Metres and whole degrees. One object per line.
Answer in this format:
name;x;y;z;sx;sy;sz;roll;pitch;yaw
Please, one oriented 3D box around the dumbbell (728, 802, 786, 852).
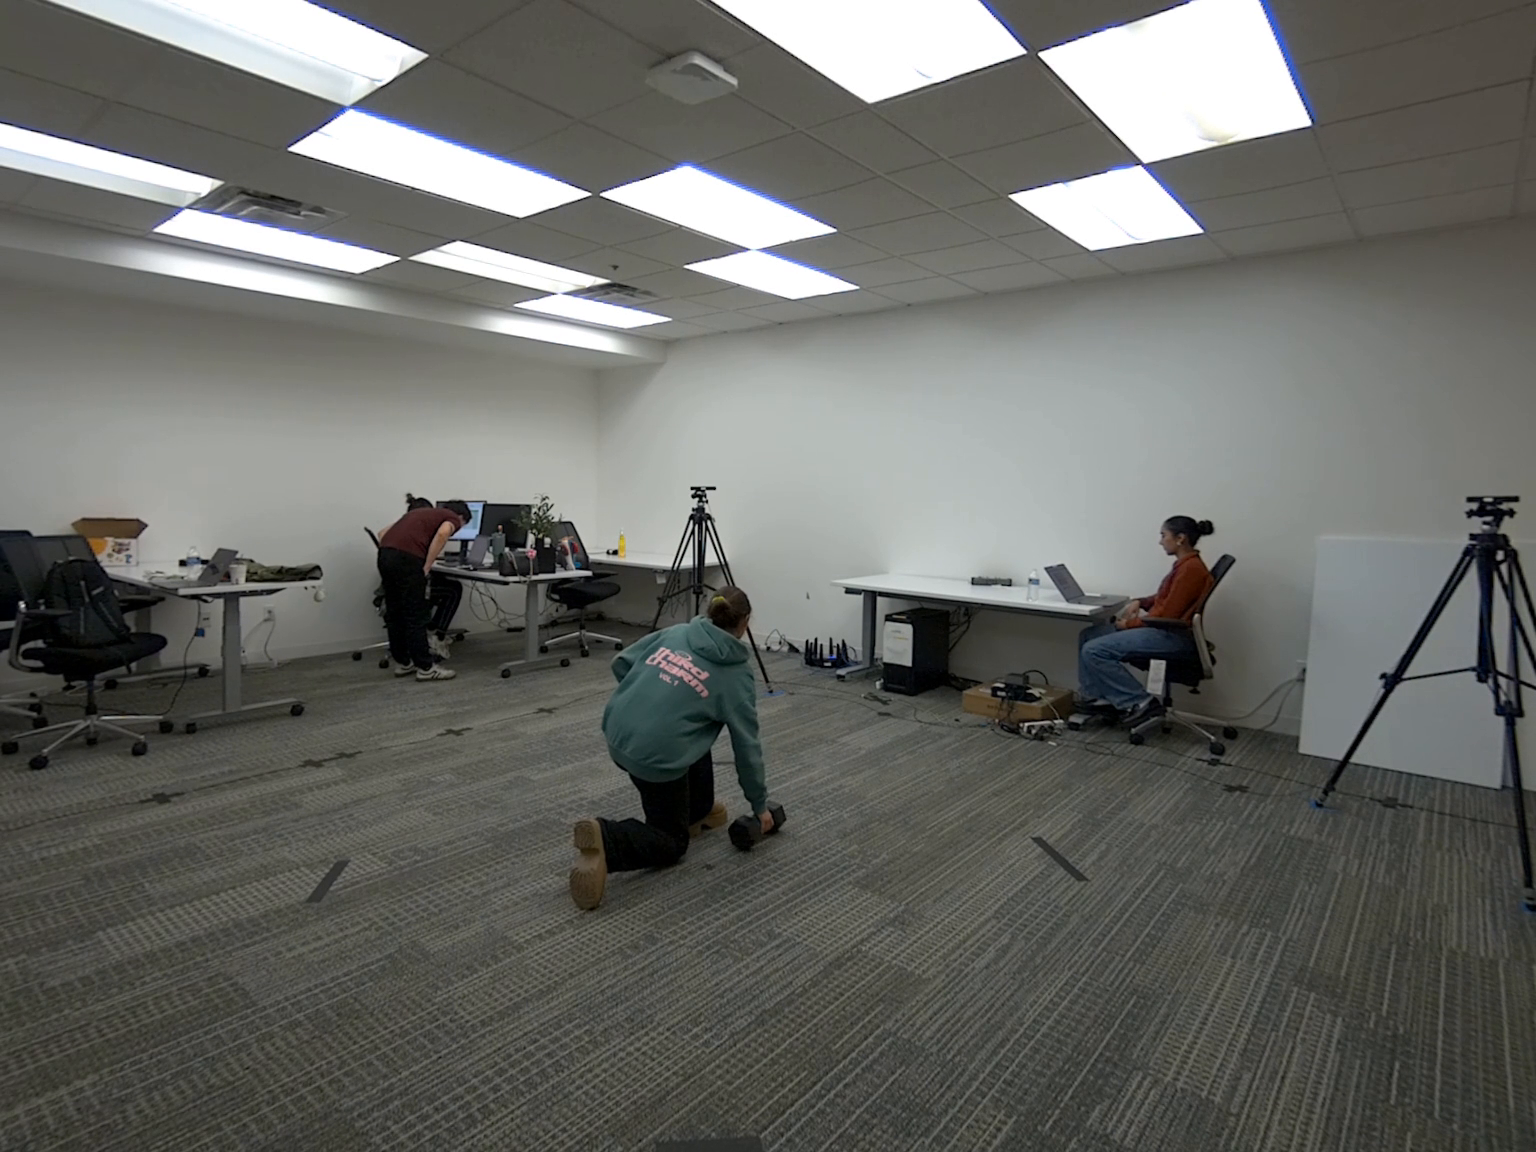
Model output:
dumbbell;-0.042;0.982;3.355;0.112;0.122;0.285;47;25;21
